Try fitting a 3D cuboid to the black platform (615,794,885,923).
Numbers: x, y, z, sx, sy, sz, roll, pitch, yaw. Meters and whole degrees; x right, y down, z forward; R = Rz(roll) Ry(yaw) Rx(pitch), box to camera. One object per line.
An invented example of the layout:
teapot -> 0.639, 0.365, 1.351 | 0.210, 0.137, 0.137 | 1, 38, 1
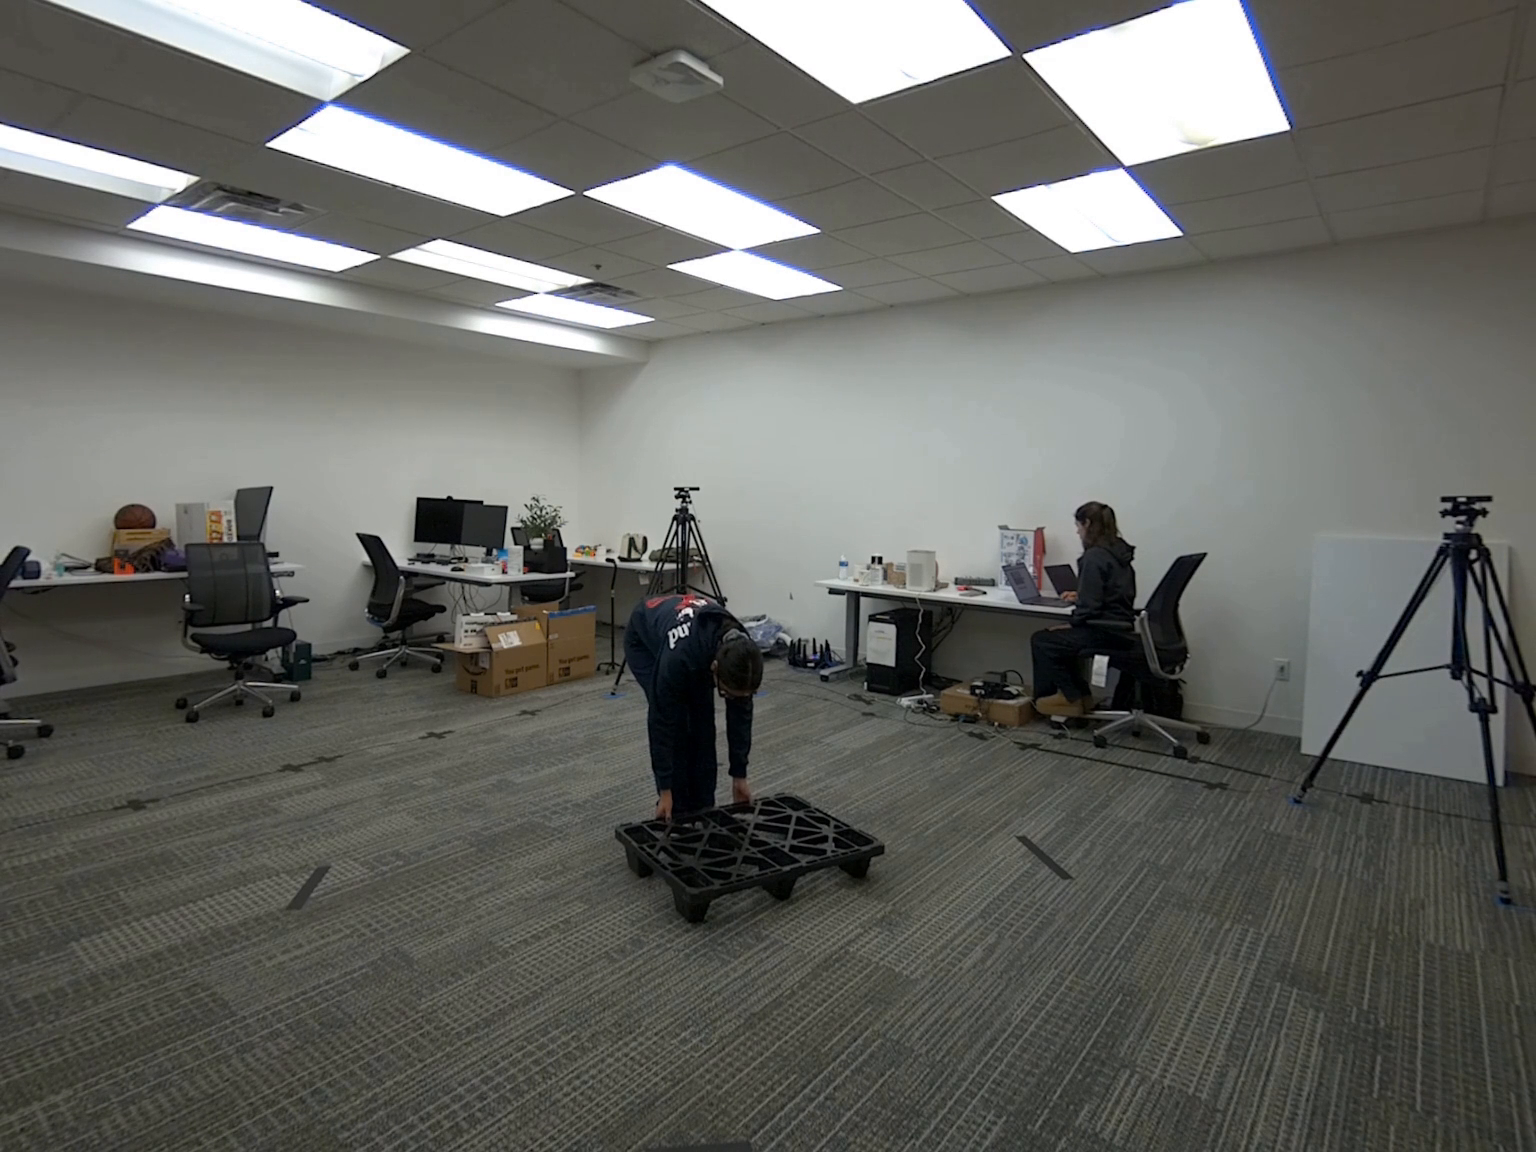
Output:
black platform -> -0.078, 1.006, 3.085 | 0.784, 0.142, 0.625 | -3, 7, -32
